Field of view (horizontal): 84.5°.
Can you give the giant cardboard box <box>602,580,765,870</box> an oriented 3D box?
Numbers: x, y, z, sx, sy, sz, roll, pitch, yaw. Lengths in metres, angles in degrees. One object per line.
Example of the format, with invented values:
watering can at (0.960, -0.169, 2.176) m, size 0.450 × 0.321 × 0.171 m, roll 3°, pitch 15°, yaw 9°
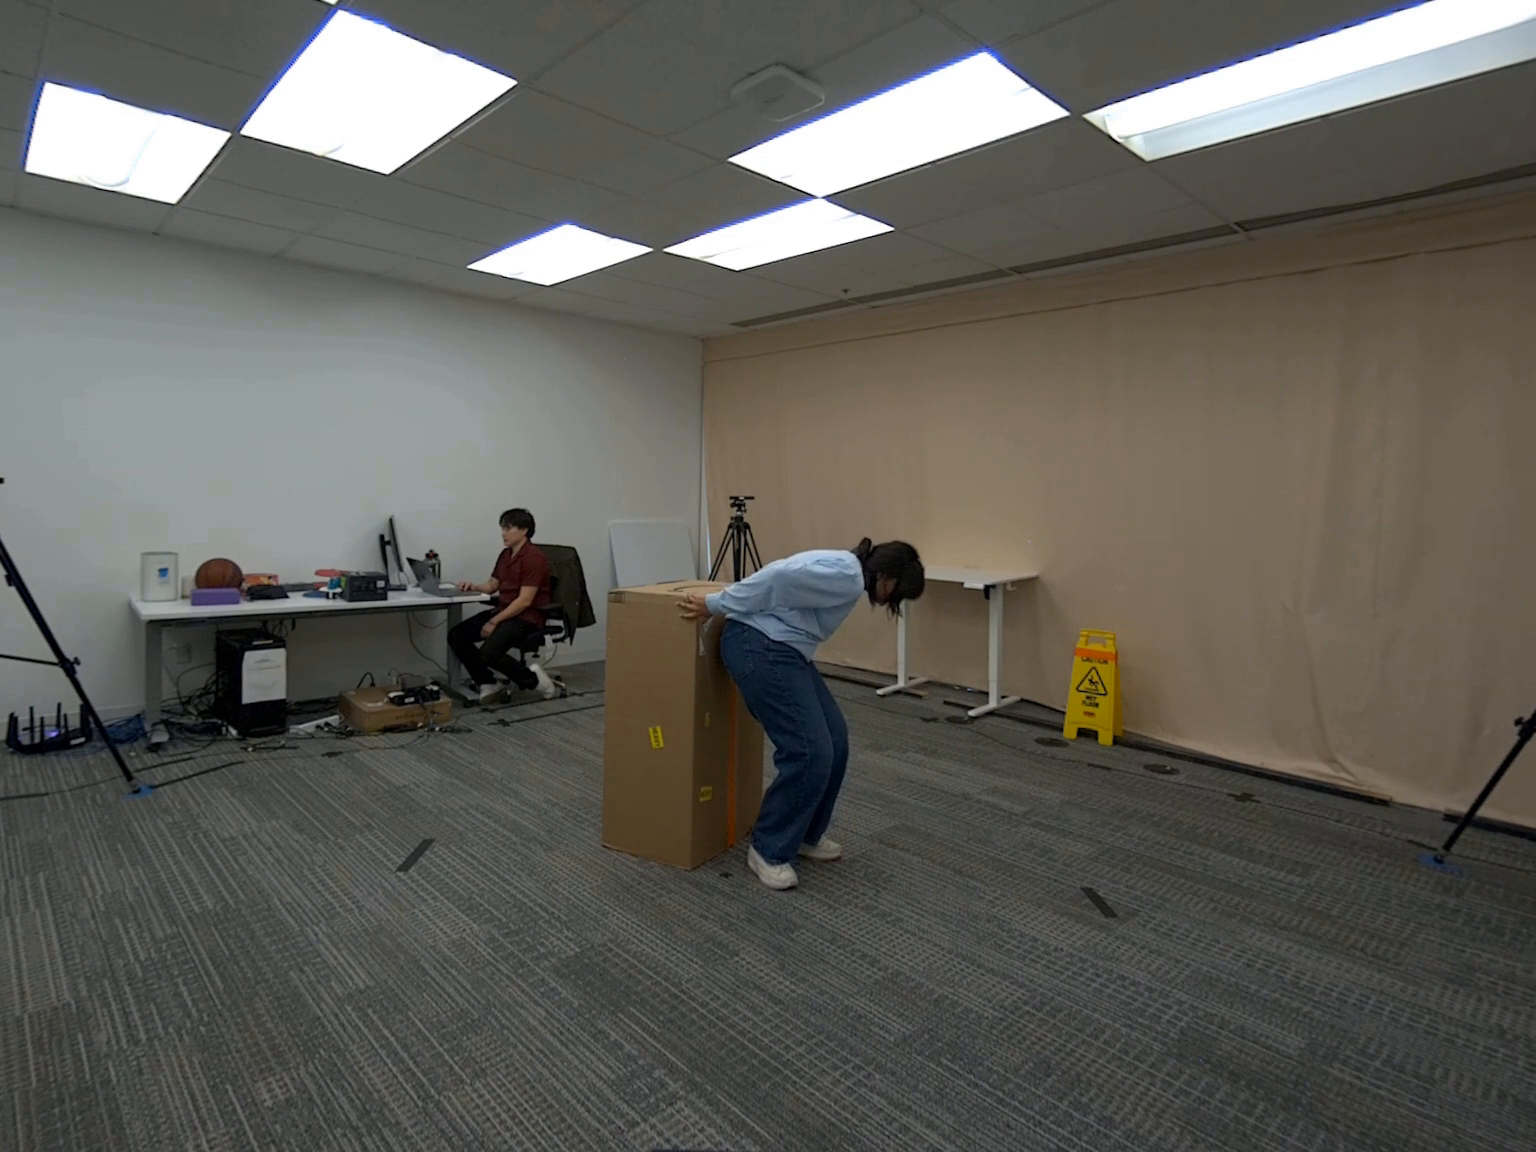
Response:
giant cardboard box at (-0.336, 0.564, 3.461) m, size 0.435 × 1.024 × 0.566 m, roll 4°, pitch 3°, yaw 29°
